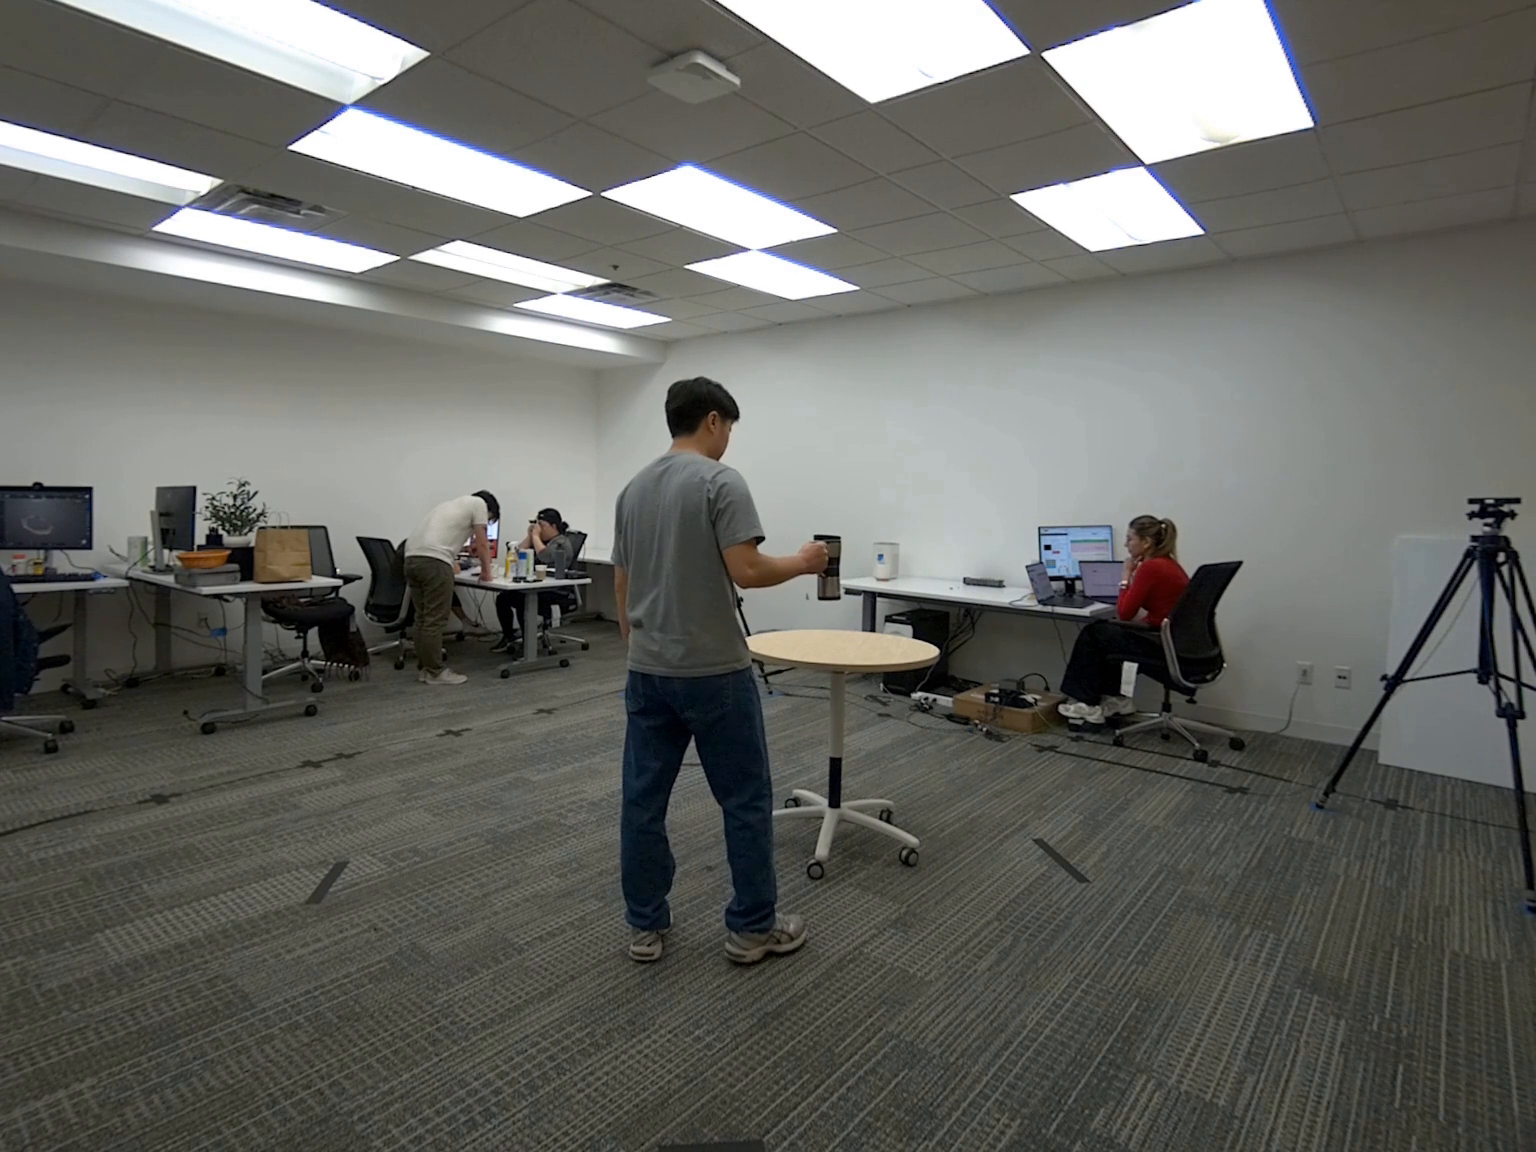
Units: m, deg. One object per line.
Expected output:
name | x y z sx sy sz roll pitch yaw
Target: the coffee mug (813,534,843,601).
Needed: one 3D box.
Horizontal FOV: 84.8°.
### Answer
coffee mug | 0.168 -0.021 2.642 0.118 0.203 0.091 2 0 -37
